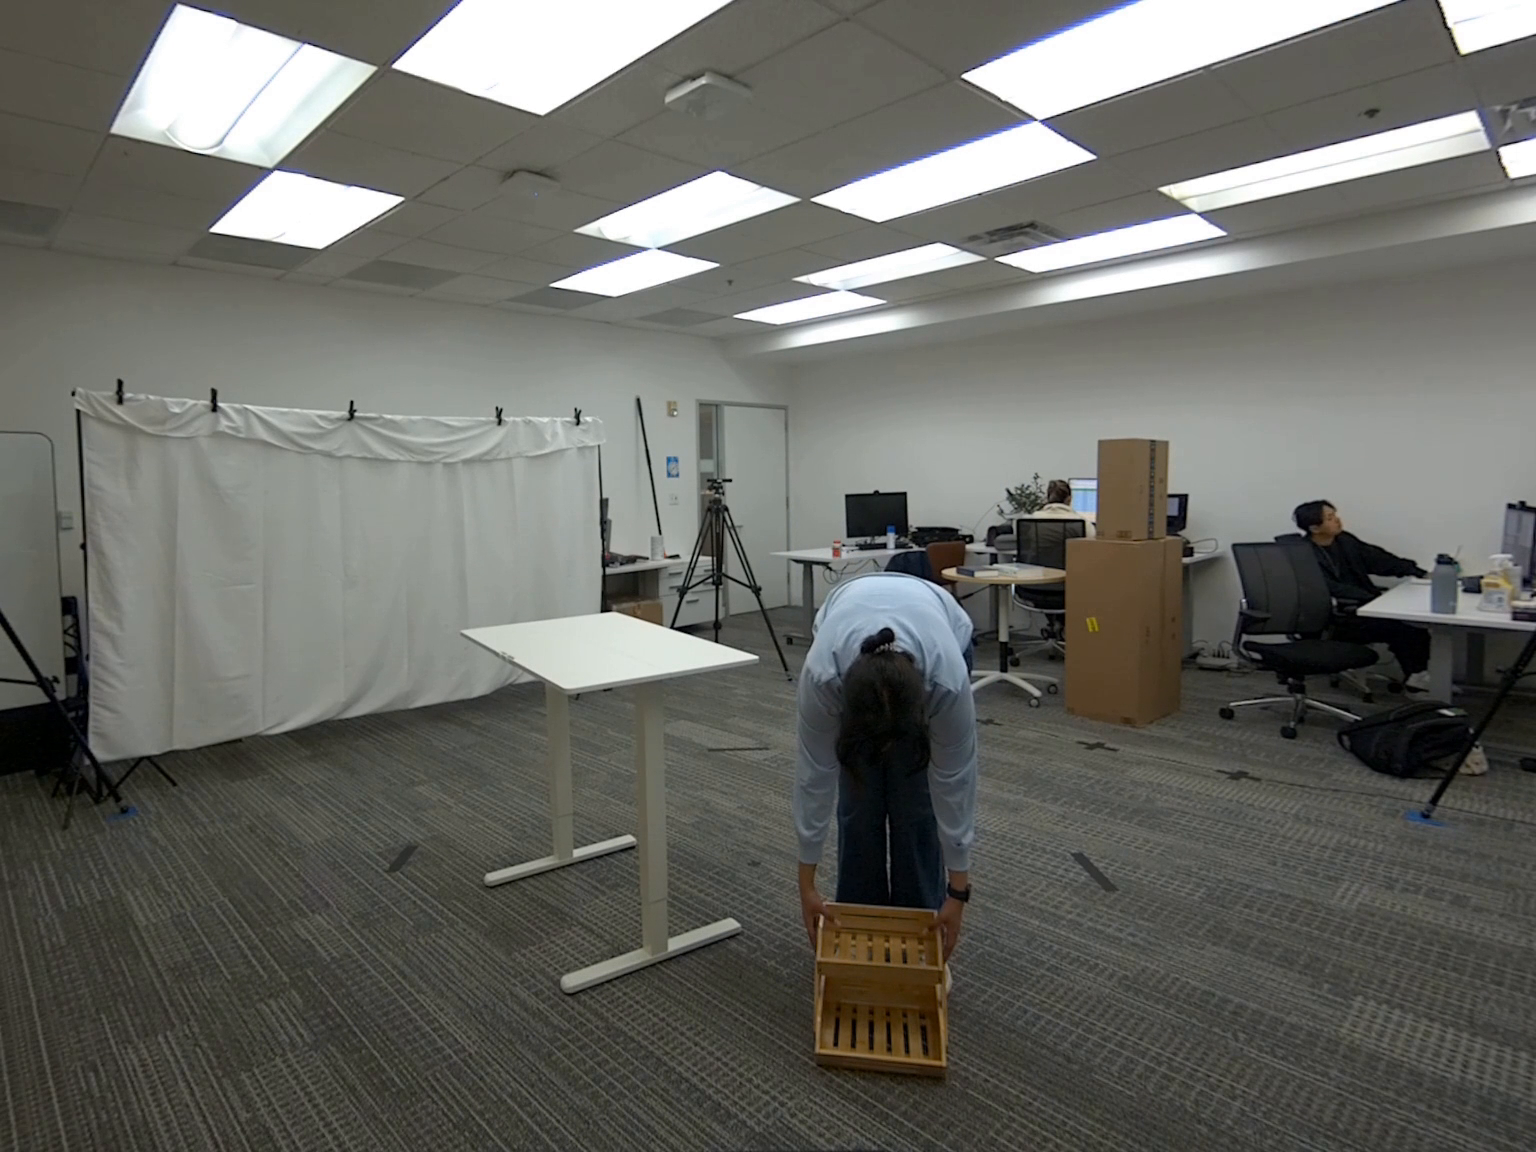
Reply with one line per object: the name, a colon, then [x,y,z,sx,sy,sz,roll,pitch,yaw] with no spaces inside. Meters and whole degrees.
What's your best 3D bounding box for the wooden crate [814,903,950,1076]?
wooden crate: [0.289,1.025,2.121,0.327,0.272,0.301,0,5,8]
